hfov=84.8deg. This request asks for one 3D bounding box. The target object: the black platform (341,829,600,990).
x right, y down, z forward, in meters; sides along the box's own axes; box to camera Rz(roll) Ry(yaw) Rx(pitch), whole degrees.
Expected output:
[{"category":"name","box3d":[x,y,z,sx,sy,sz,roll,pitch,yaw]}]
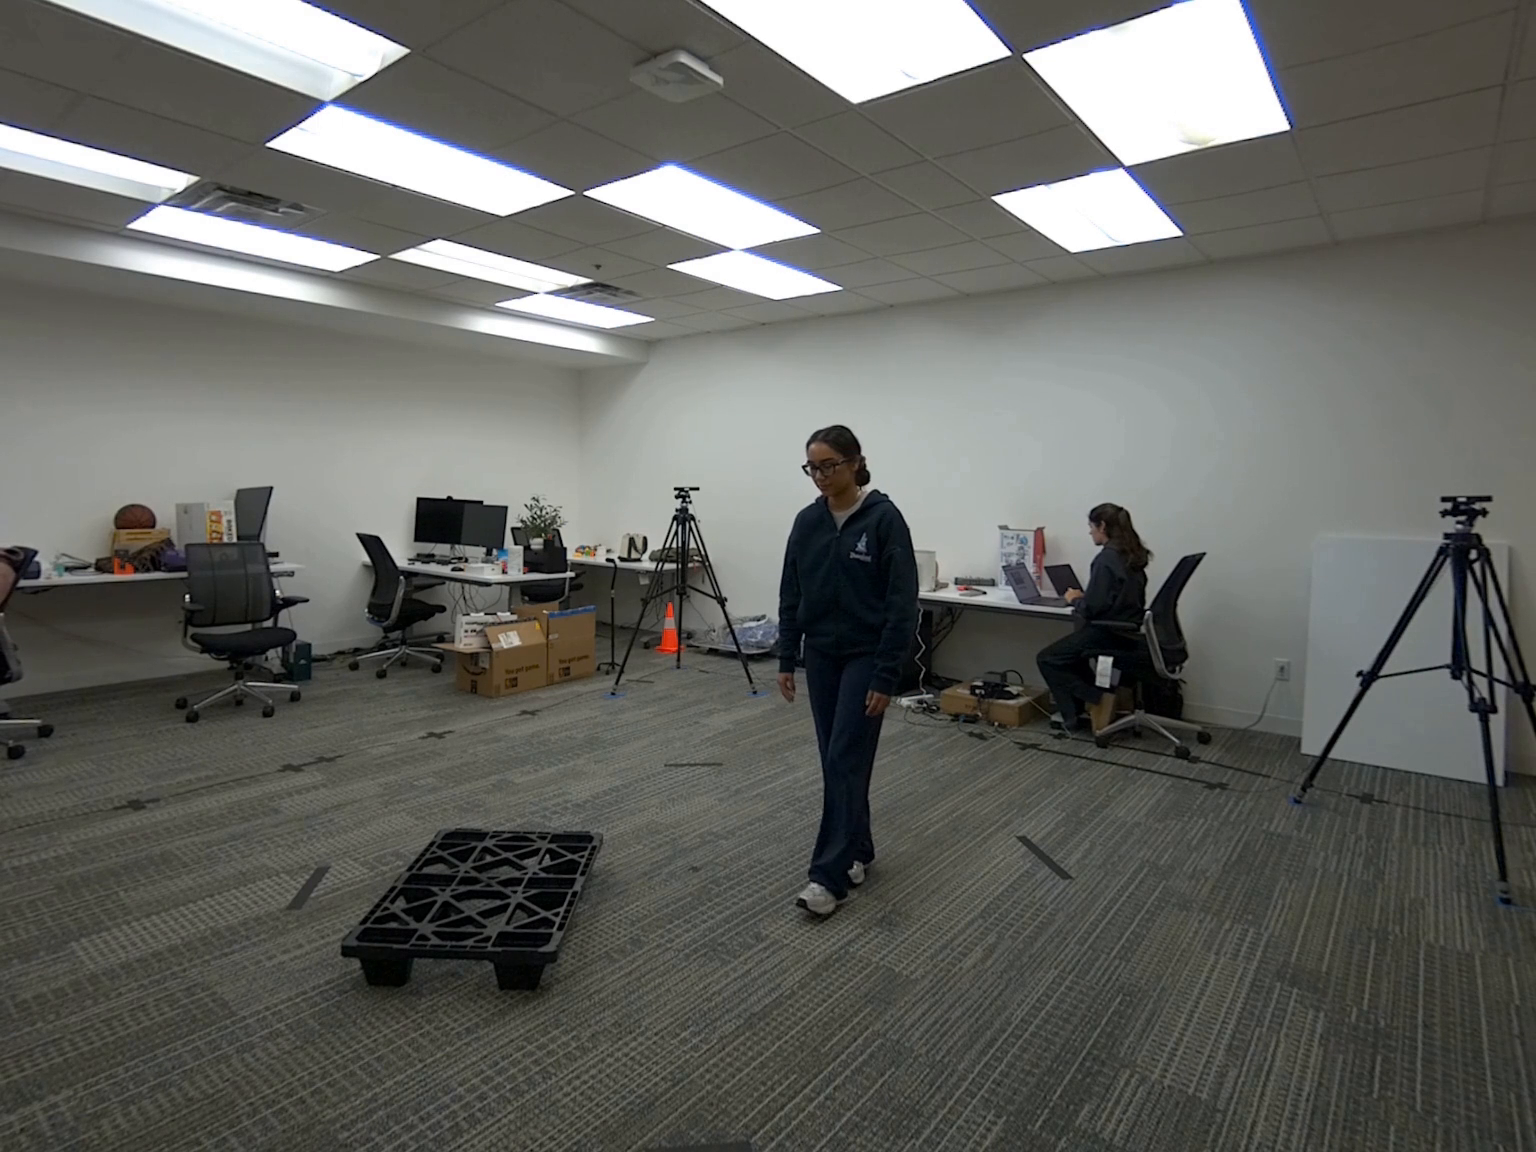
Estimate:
[{"category":"black platform","box3d":[-0.897,1.030,2.704,0.605,0.143,0.808,0,6,-1]}]
